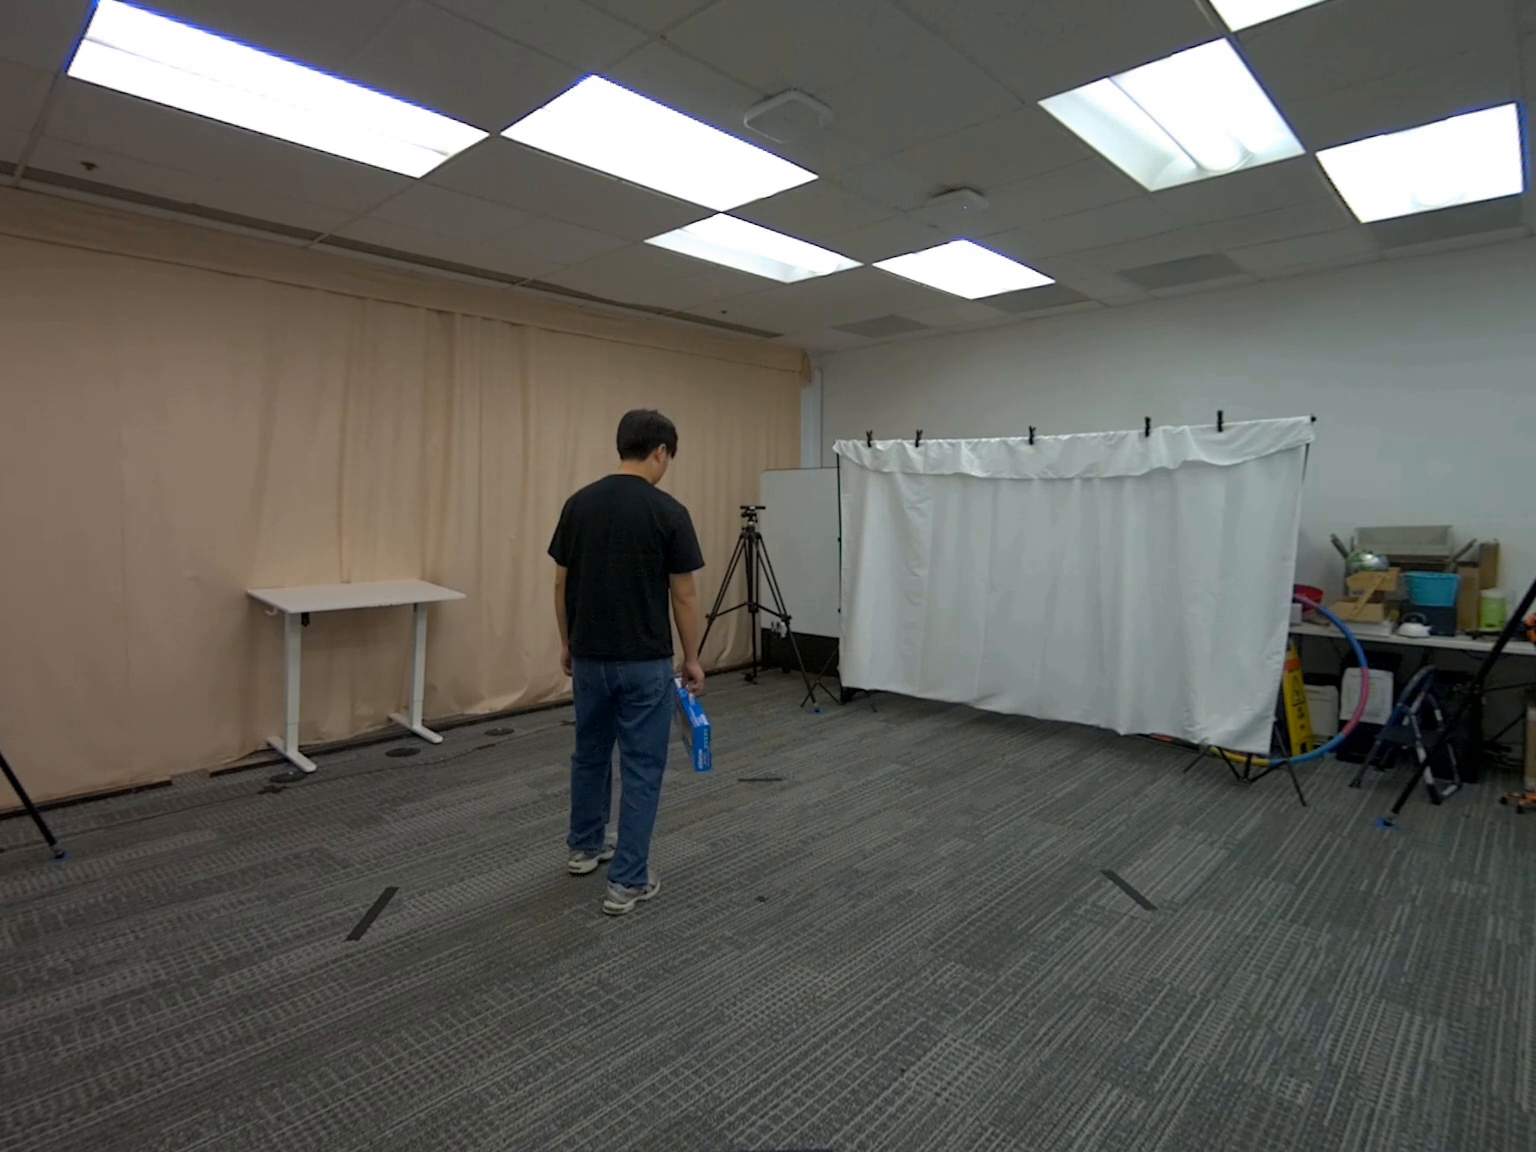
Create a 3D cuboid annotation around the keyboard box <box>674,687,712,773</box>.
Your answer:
[{"bbox_3d":[-0.285,0.531,3.075,0.058,0.174,0.448,-4,17,-16],"label":"keyboard box"}]
